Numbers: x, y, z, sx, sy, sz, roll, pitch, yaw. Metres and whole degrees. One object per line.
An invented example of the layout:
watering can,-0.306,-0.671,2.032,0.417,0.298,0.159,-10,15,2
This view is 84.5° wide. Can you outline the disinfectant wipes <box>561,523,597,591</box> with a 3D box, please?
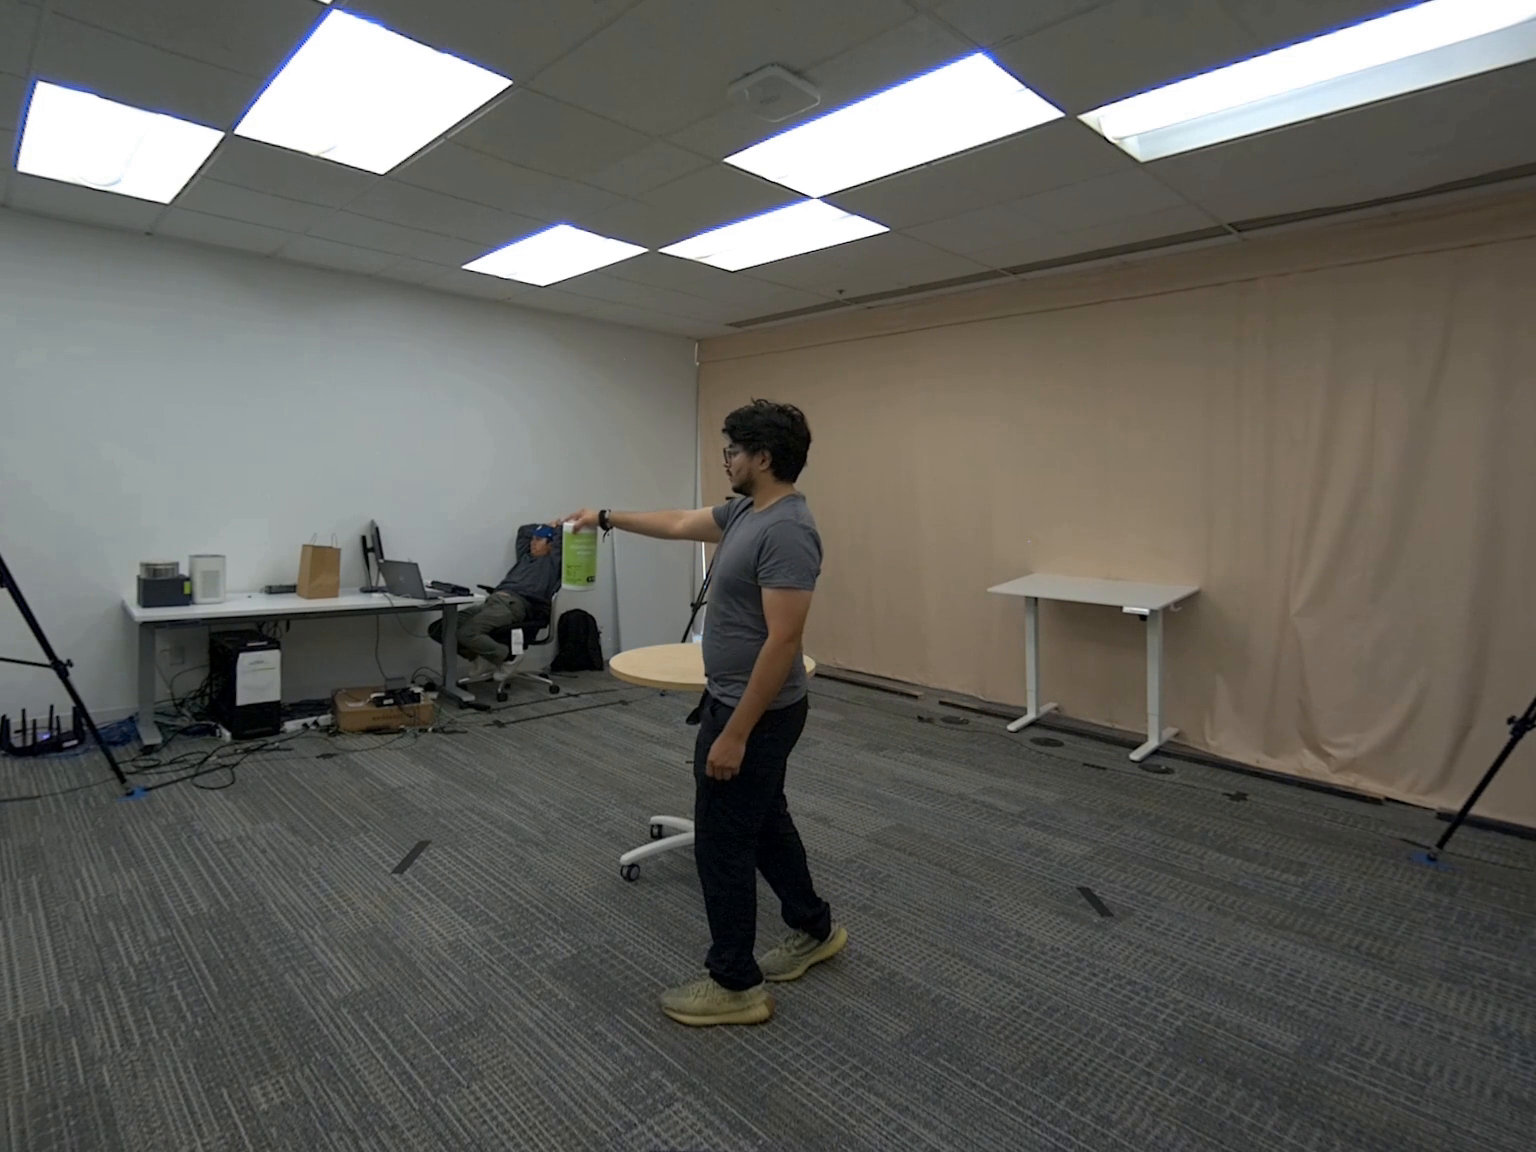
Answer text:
disinfectant wipes,-0.614,-0.058,2.671,0.118,0.216,0.118,2,5,-2
